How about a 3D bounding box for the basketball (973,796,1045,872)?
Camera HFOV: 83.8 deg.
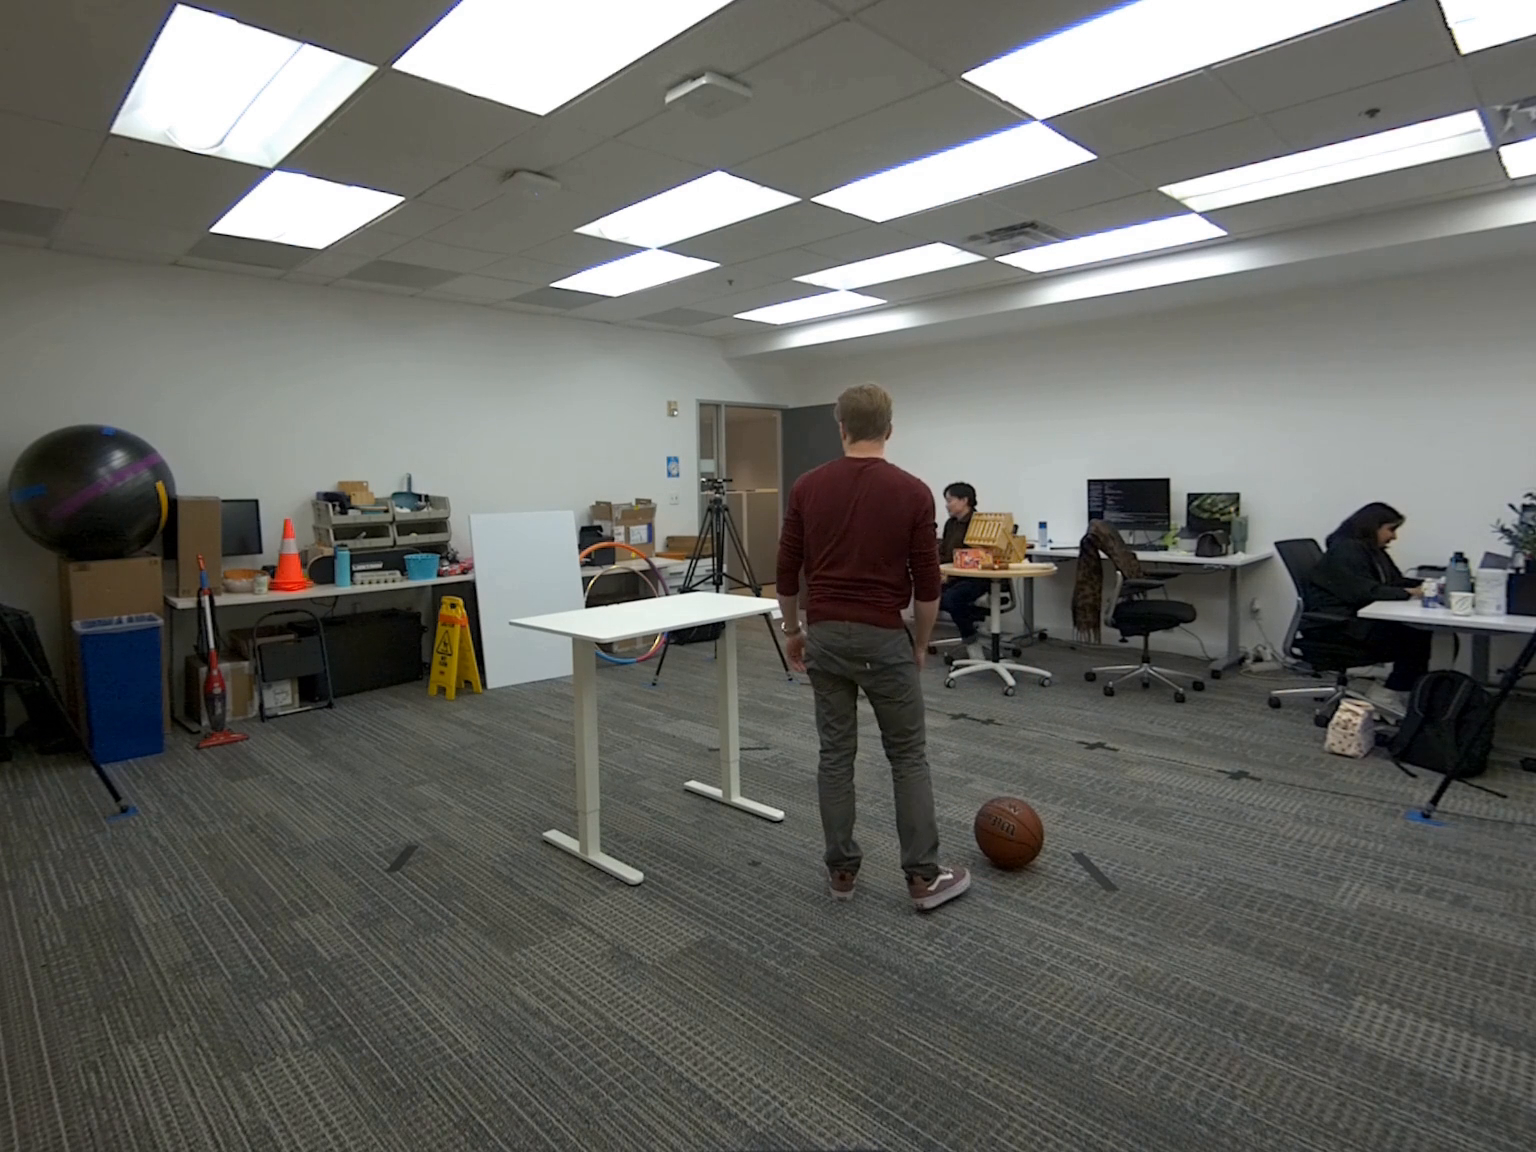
[{"bbox_3d":[0.873,0.919,3.054,0.236,0.235,0.237,-1,5,-2],"label":"basketball"}]
